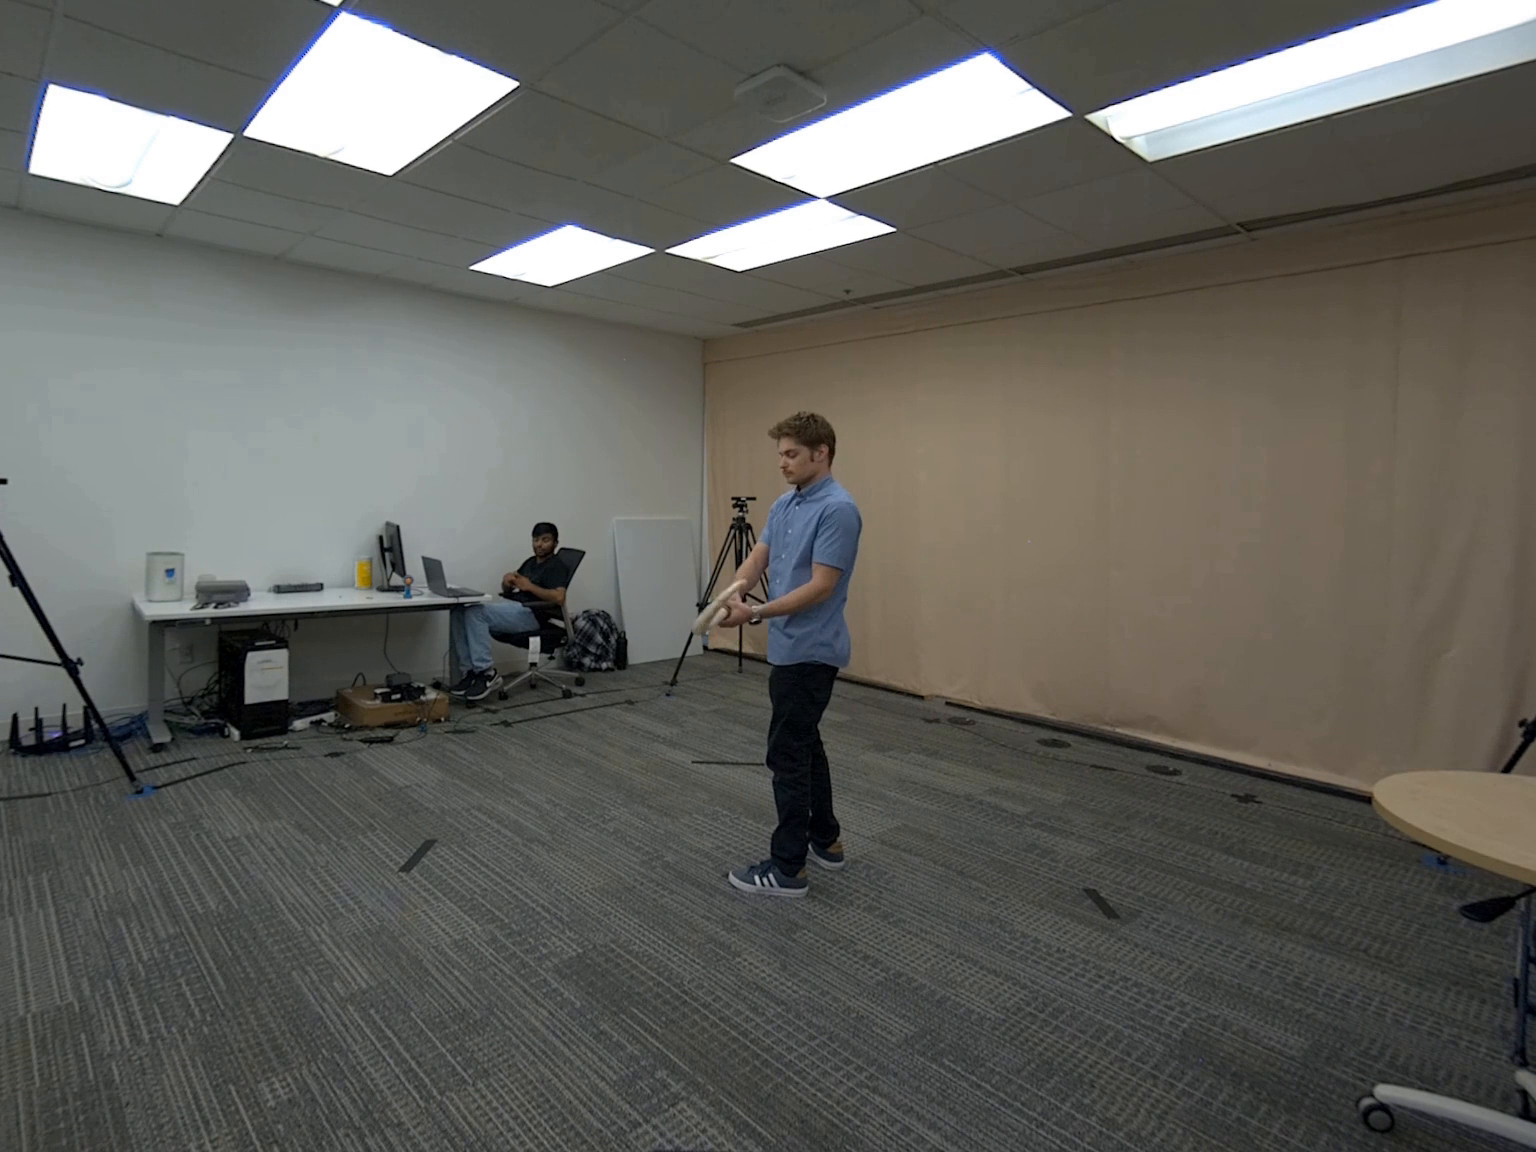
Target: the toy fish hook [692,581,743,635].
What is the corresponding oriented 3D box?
[{"bbox_3d":[-0.134,0.096,2.739,0.049,0.224,0.501,46,9,7],"label":"toy fish hook"}]
